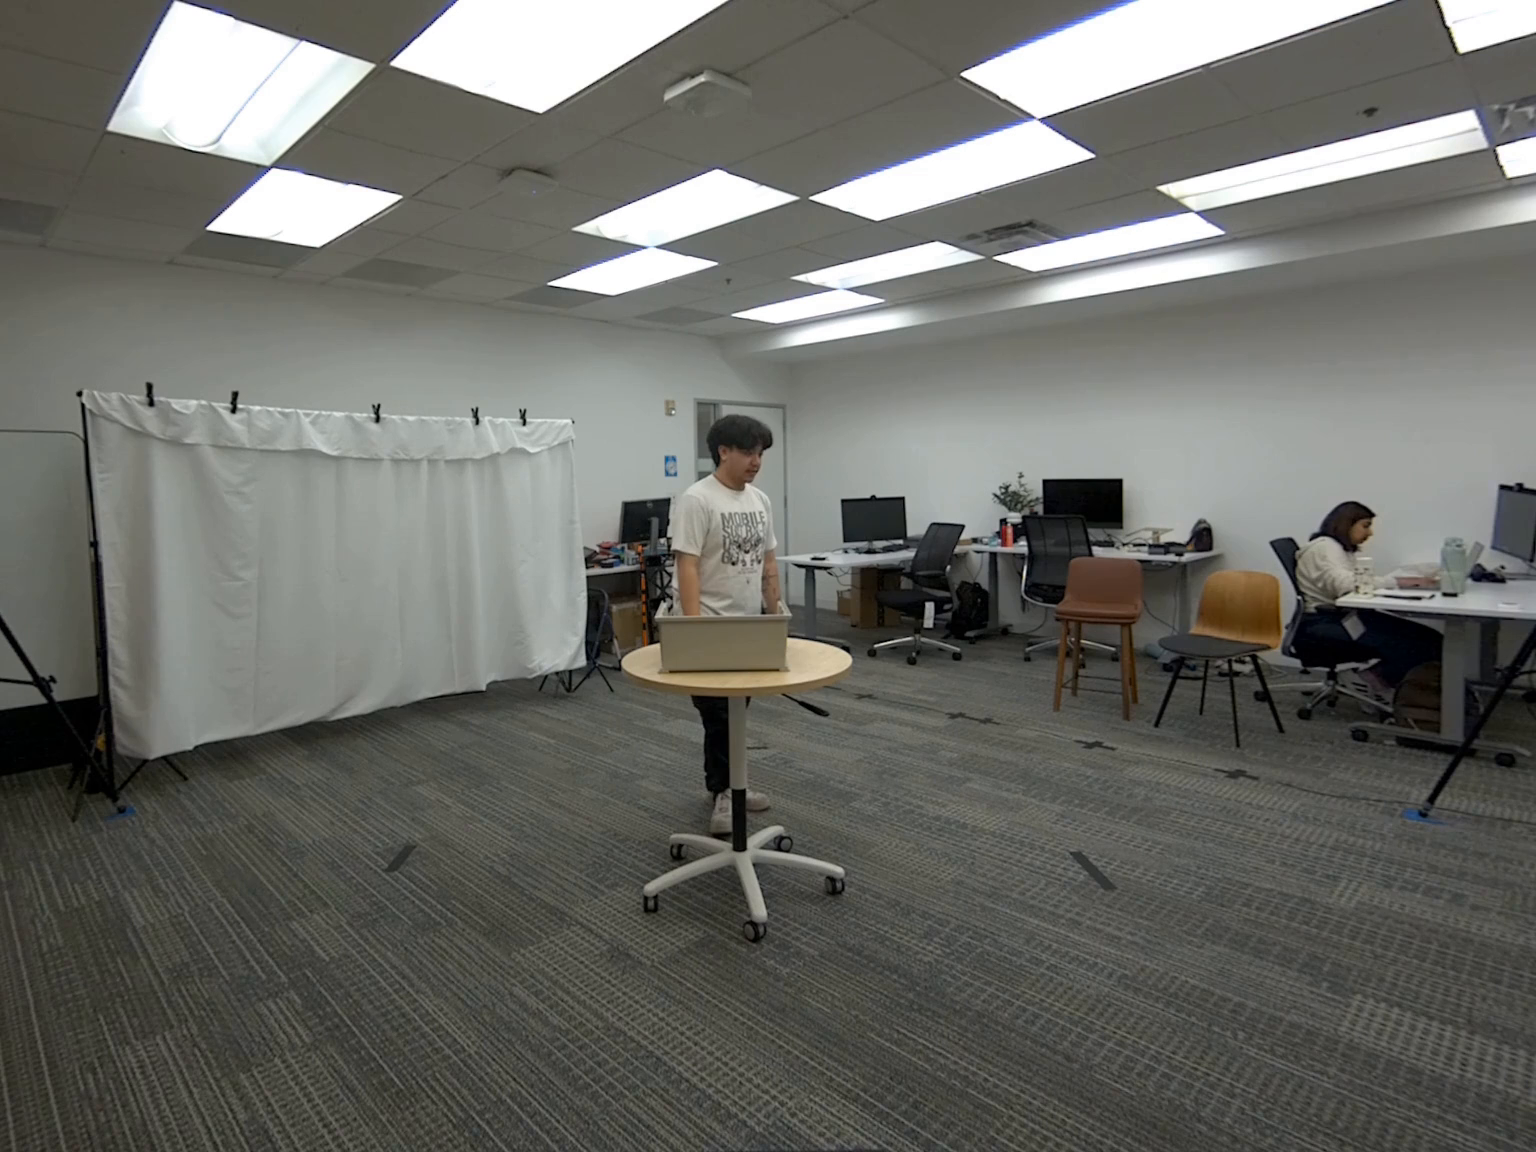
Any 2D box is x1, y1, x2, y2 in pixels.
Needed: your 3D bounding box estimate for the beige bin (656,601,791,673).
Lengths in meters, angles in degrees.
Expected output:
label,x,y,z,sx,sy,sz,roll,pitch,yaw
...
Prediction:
label,x,y,z,sx,sy,sz,roll,pitch,yaw
beige bin,-0.151,0.195,2.836,0.422,0.188,0.380,-1,8,-1
